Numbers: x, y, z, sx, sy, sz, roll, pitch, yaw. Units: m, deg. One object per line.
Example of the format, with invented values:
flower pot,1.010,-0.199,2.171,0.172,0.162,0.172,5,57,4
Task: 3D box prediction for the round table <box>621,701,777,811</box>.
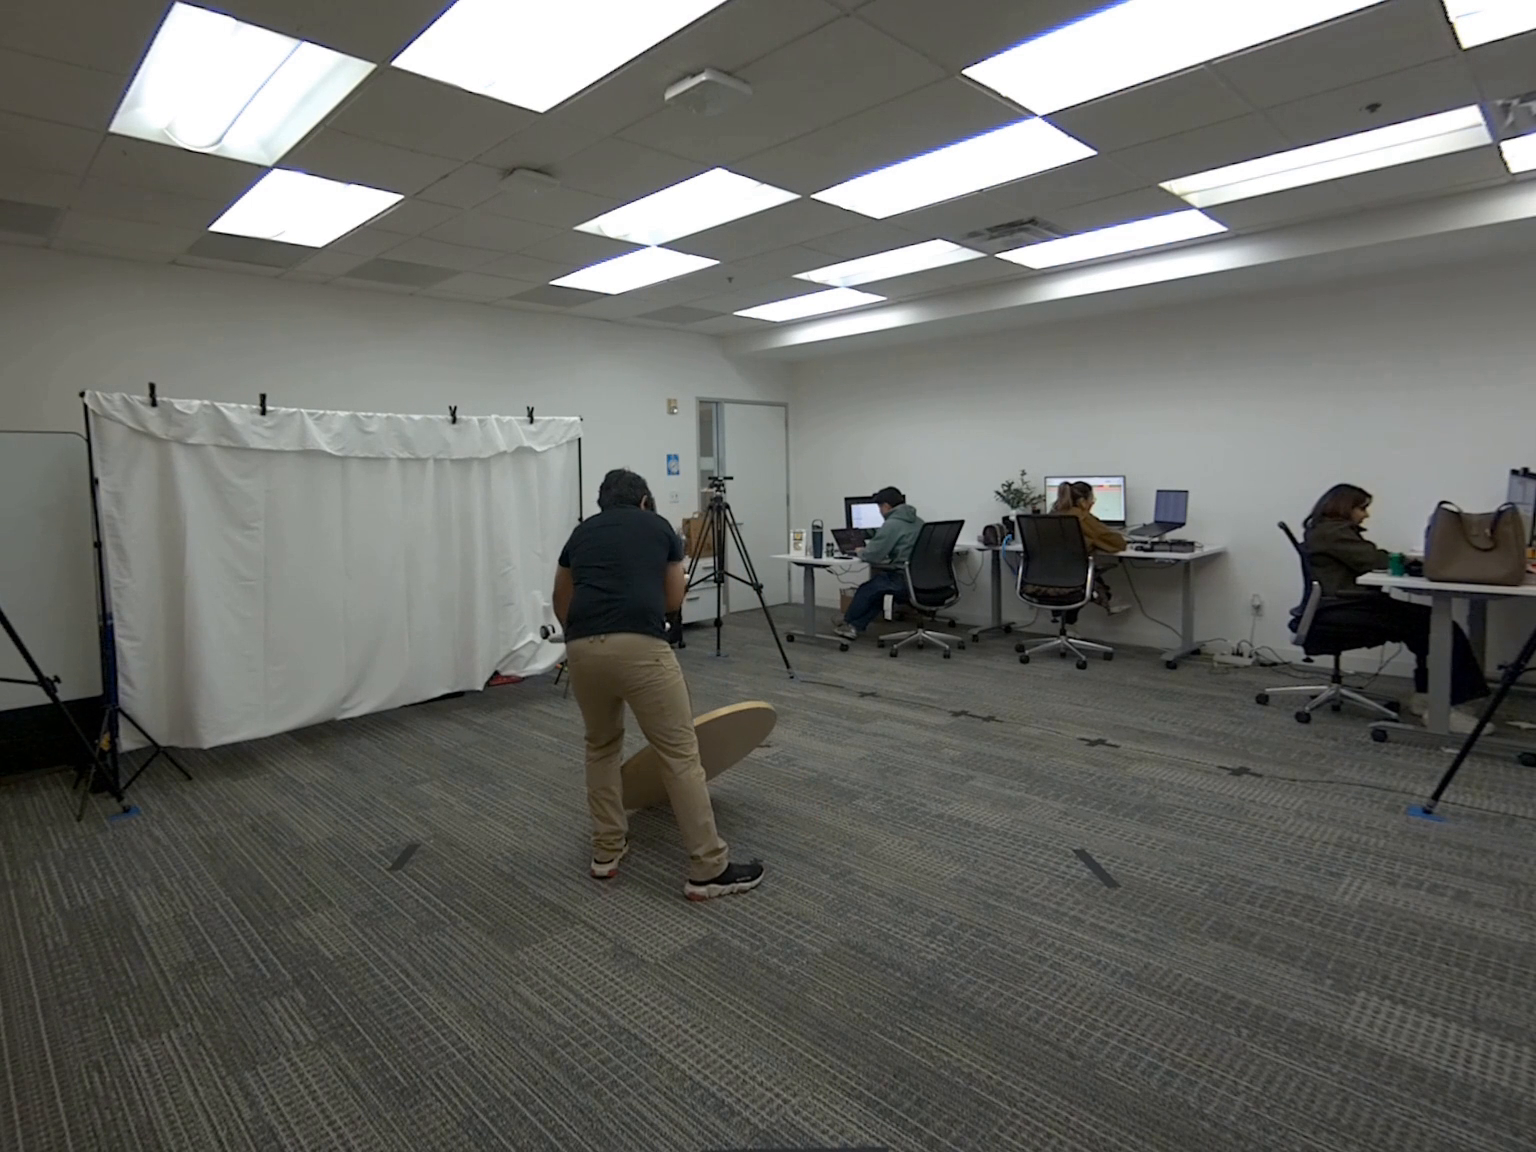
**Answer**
round table,-0.484,0.438,3.648,0.779,0.811,0.767,-24,-27,-15
